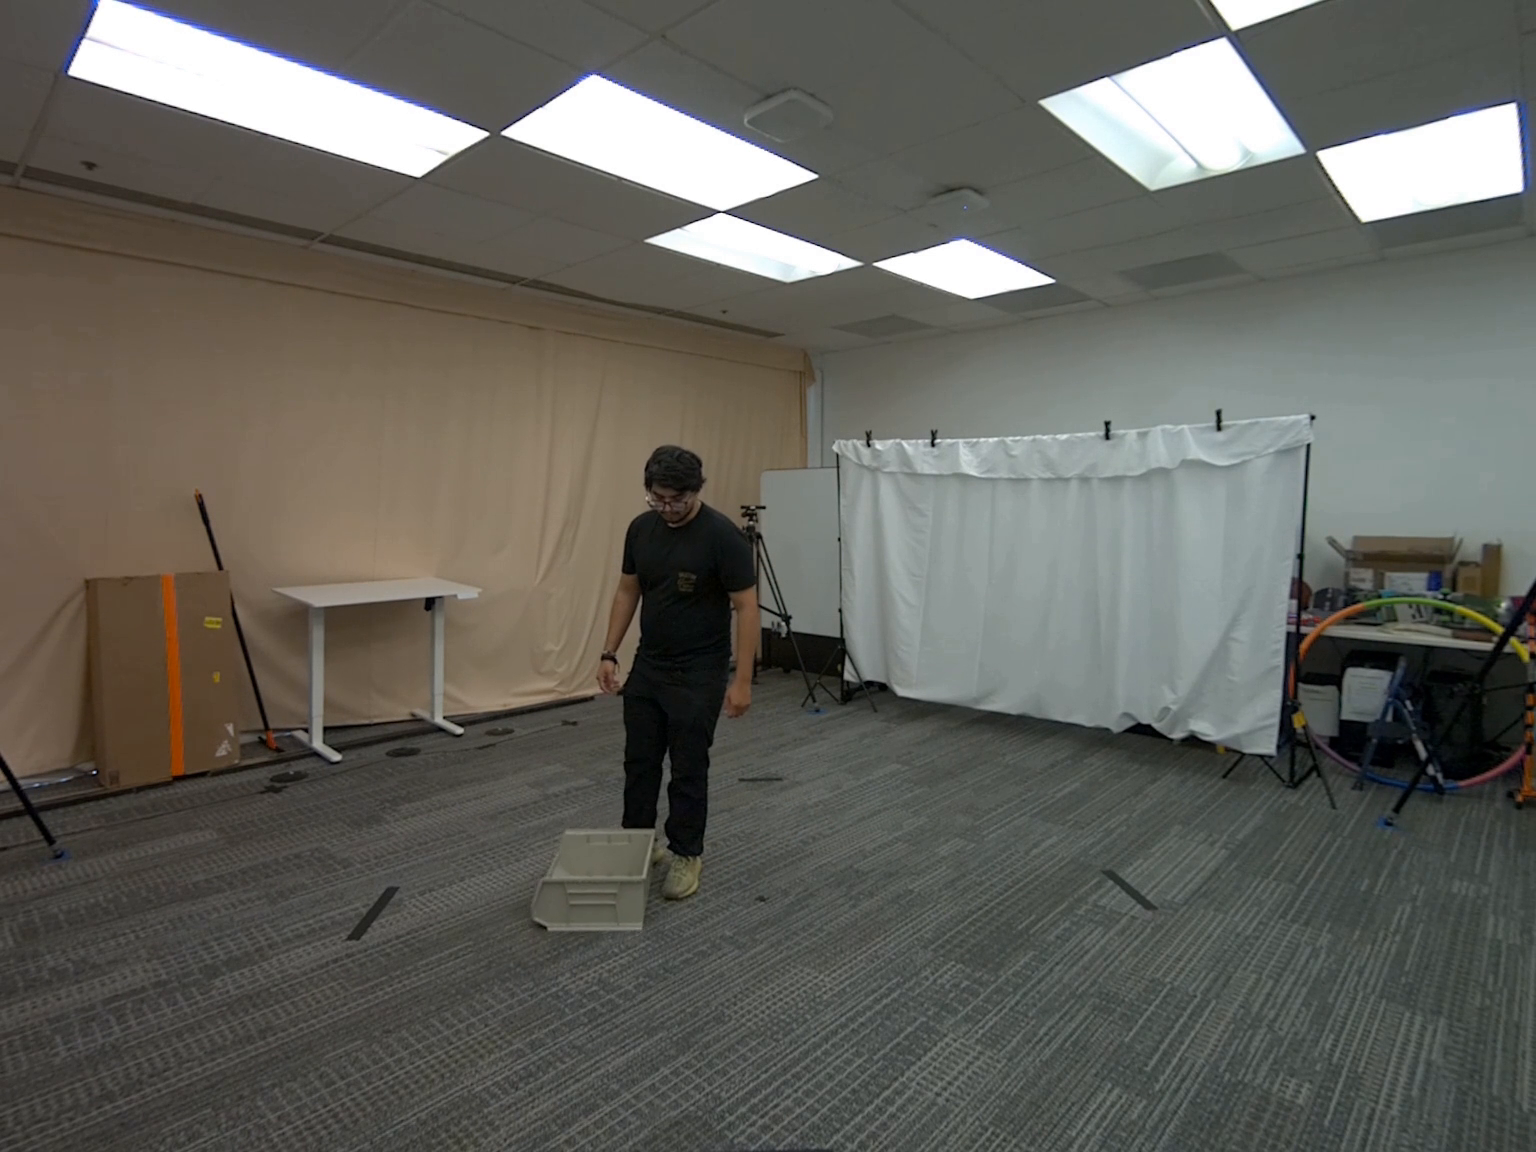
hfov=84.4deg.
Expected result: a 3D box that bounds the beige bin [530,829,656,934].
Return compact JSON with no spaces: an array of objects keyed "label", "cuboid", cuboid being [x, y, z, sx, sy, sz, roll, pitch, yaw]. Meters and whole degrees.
[{"label":"beige bin","cuboid":[-0.608,1.061,2.967,0.377,0.188,0.423,1,4,-1]}]
